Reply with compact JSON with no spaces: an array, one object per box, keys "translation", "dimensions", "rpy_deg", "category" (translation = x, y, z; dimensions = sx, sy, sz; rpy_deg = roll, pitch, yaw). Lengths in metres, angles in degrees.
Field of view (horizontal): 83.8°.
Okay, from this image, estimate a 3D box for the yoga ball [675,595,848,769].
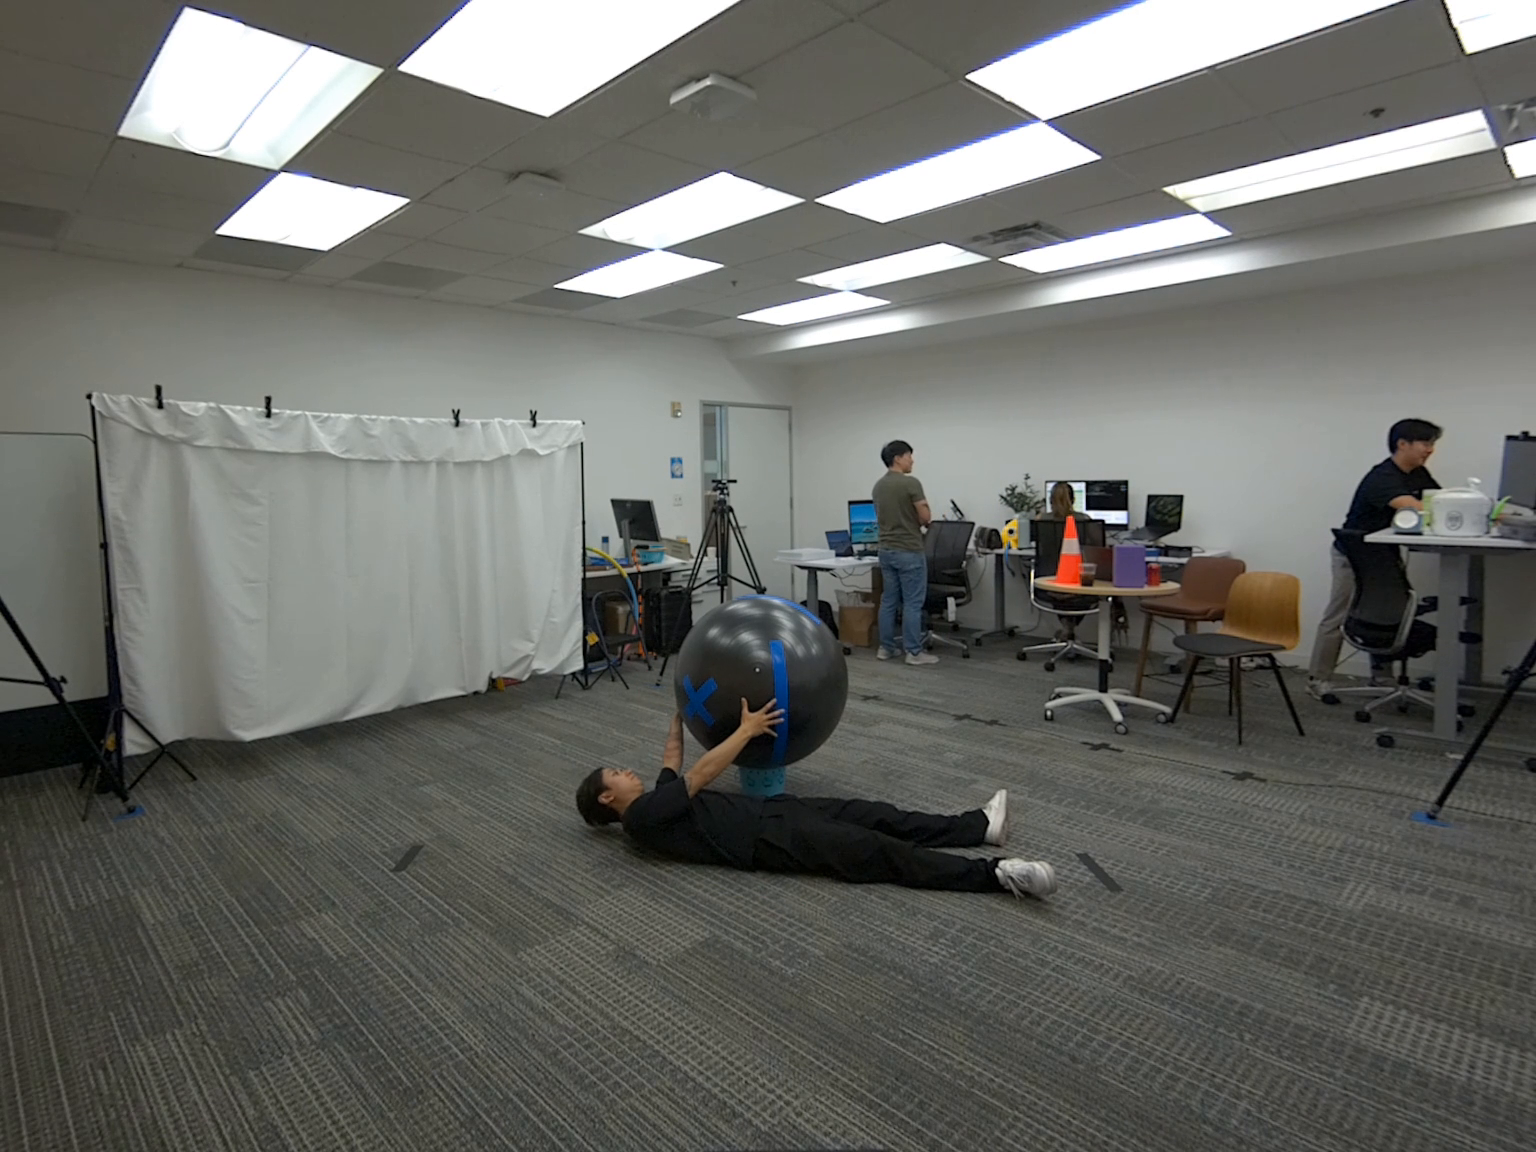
[{"translation":[-0.029,0.466,3.762],"dimensions":[0.757,0.755,0.762],"rpy_deg":[-1,5,-2],"category":"yoga ball"}]
